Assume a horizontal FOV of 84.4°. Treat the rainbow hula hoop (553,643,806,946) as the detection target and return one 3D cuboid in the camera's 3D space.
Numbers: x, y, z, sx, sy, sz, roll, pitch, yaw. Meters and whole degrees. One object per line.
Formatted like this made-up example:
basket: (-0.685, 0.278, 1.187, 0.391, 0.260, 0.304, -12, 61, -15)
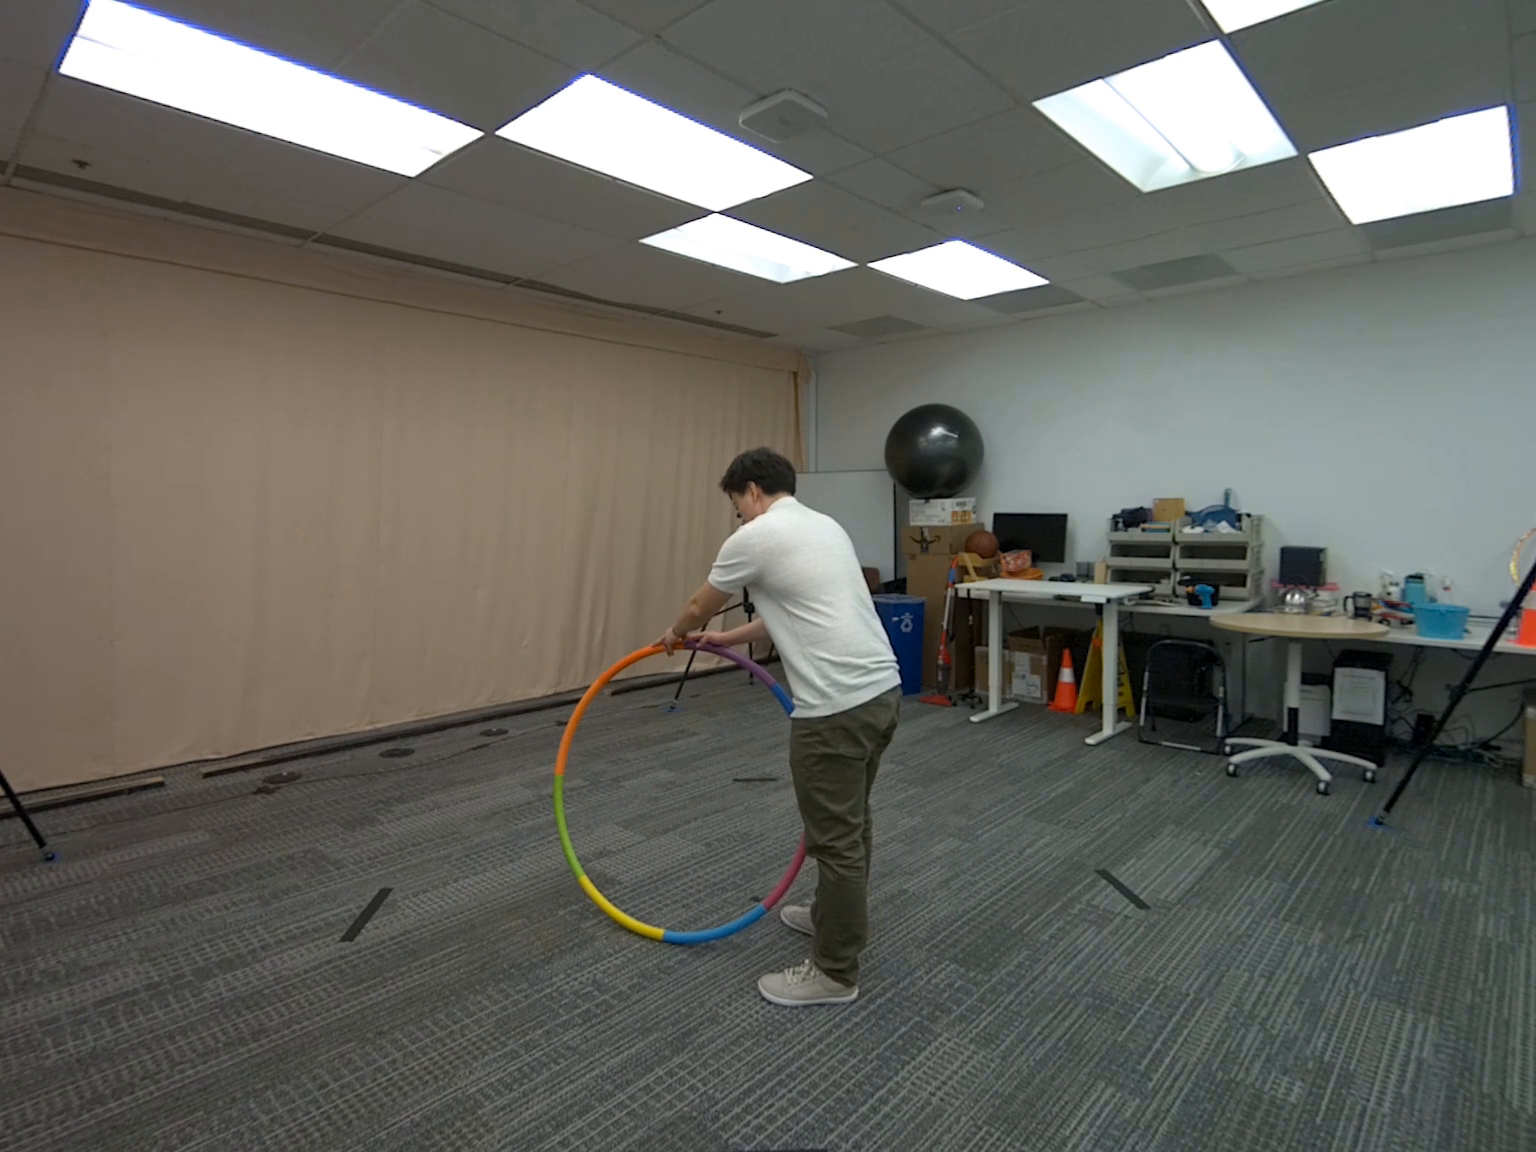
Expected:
rainbow hula hoop: (-0.308, 0.692, 2.817, 1.005, 0.984, 0.034, 2, -14, 27)
